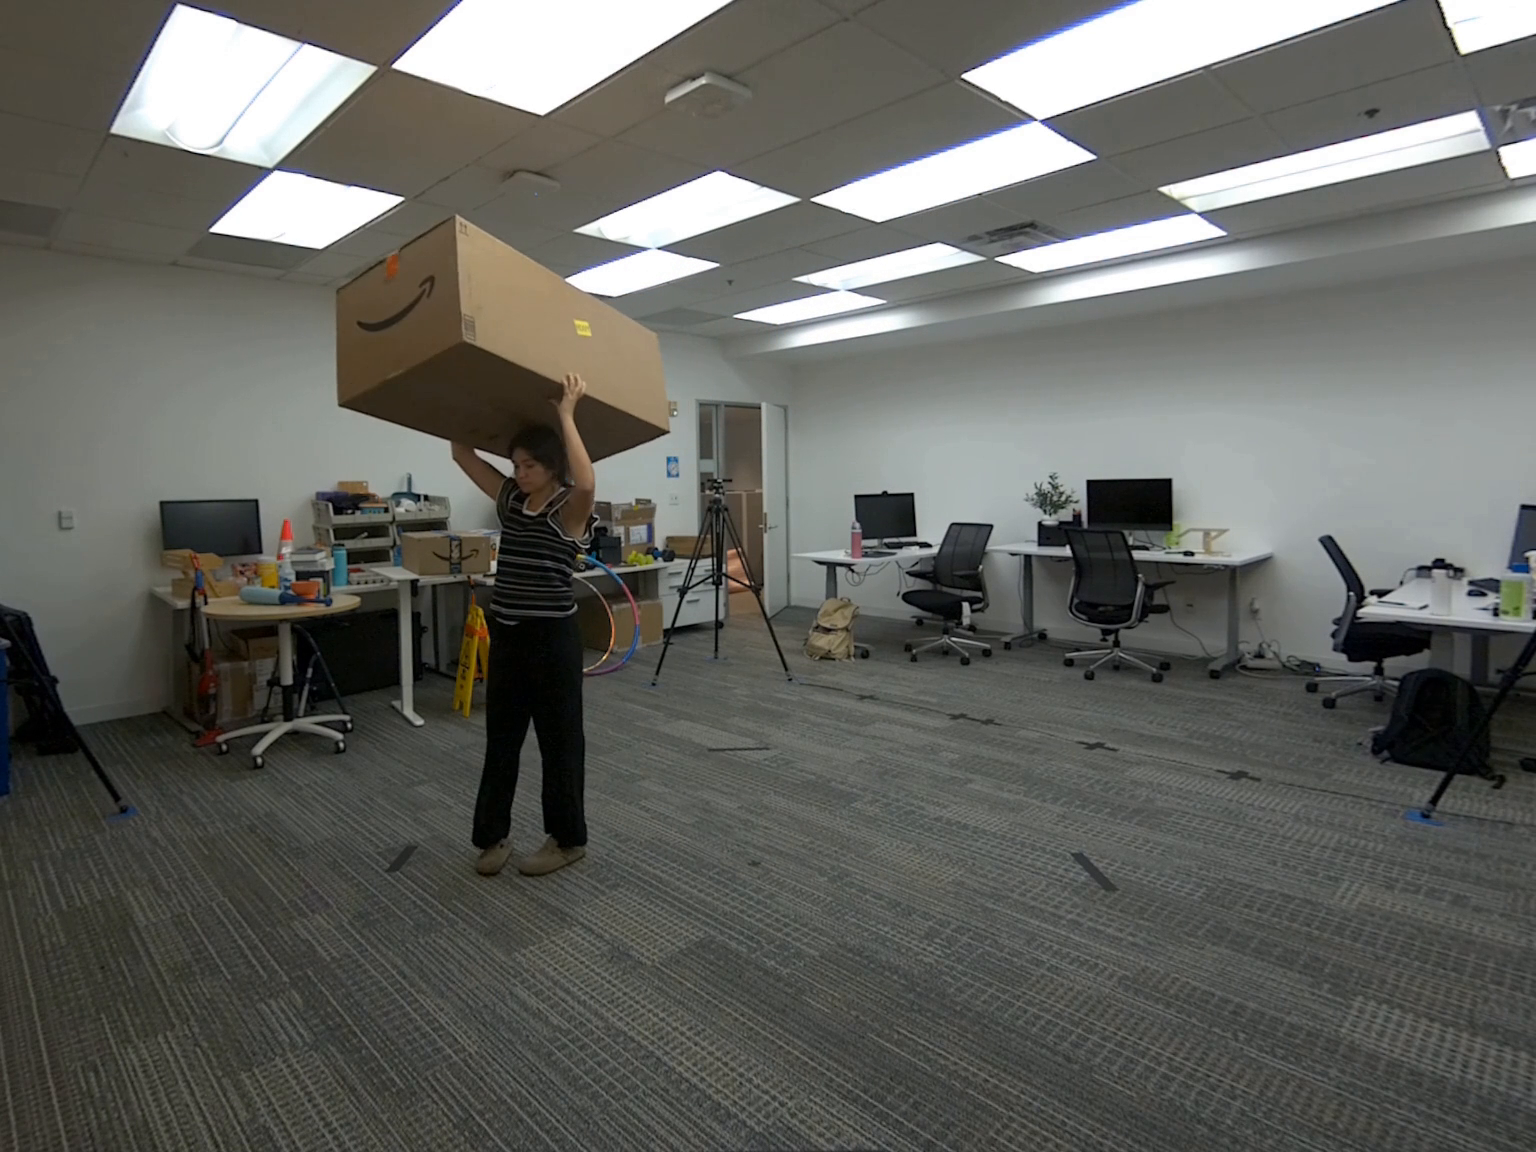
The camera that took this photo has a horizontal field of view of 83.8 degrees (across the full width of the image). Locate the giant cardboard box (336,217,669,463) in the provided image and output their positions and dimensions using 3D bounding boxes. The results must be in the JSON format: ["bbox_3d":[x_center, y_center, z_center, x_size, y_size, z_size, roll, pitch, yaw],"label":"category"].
[{"bbox_3d":[-0.893,-0.739,3.032,0.587,0.432,0.993,-15,-15,28],"label":"giant cardboard box"}]
